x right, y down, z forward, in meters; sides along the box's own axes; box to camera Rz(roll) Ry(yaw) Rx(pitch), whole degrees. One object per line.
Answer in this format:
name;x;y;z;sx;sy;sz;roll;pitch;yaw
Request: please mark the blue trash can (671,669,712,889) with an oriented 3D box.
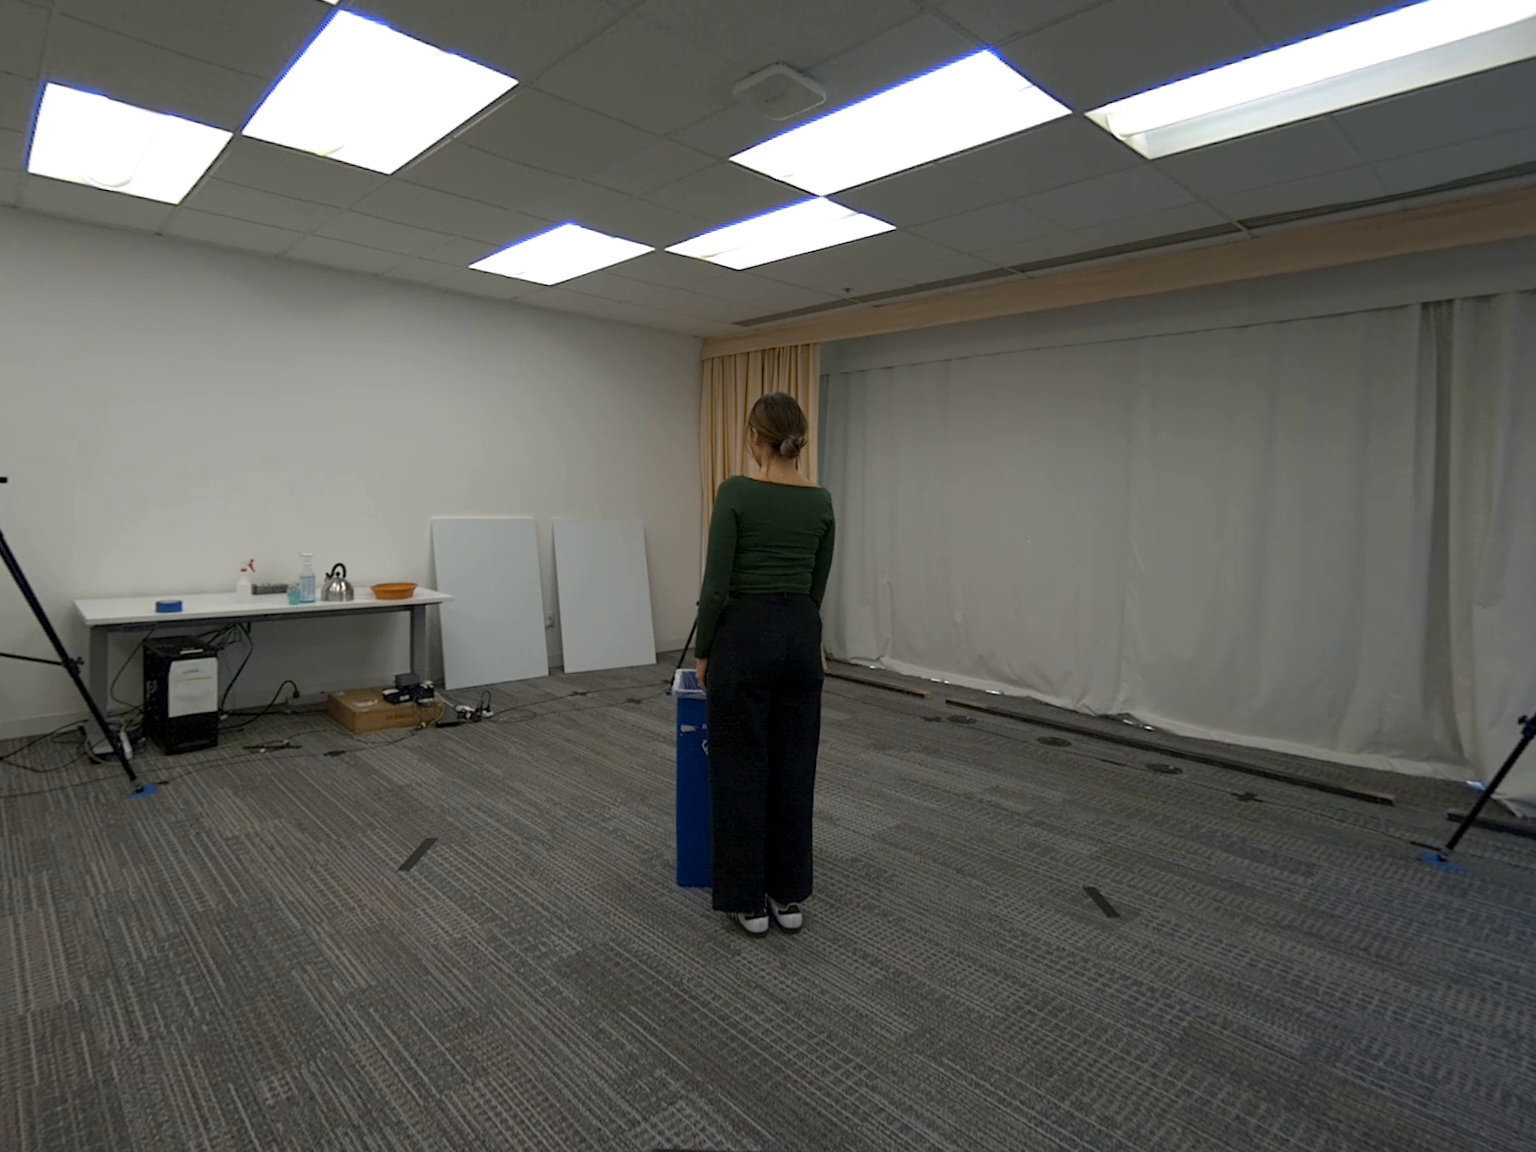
blue trash can;-0.184;0.742;3.131;0.377;0.711;0.376;2;4;-3
